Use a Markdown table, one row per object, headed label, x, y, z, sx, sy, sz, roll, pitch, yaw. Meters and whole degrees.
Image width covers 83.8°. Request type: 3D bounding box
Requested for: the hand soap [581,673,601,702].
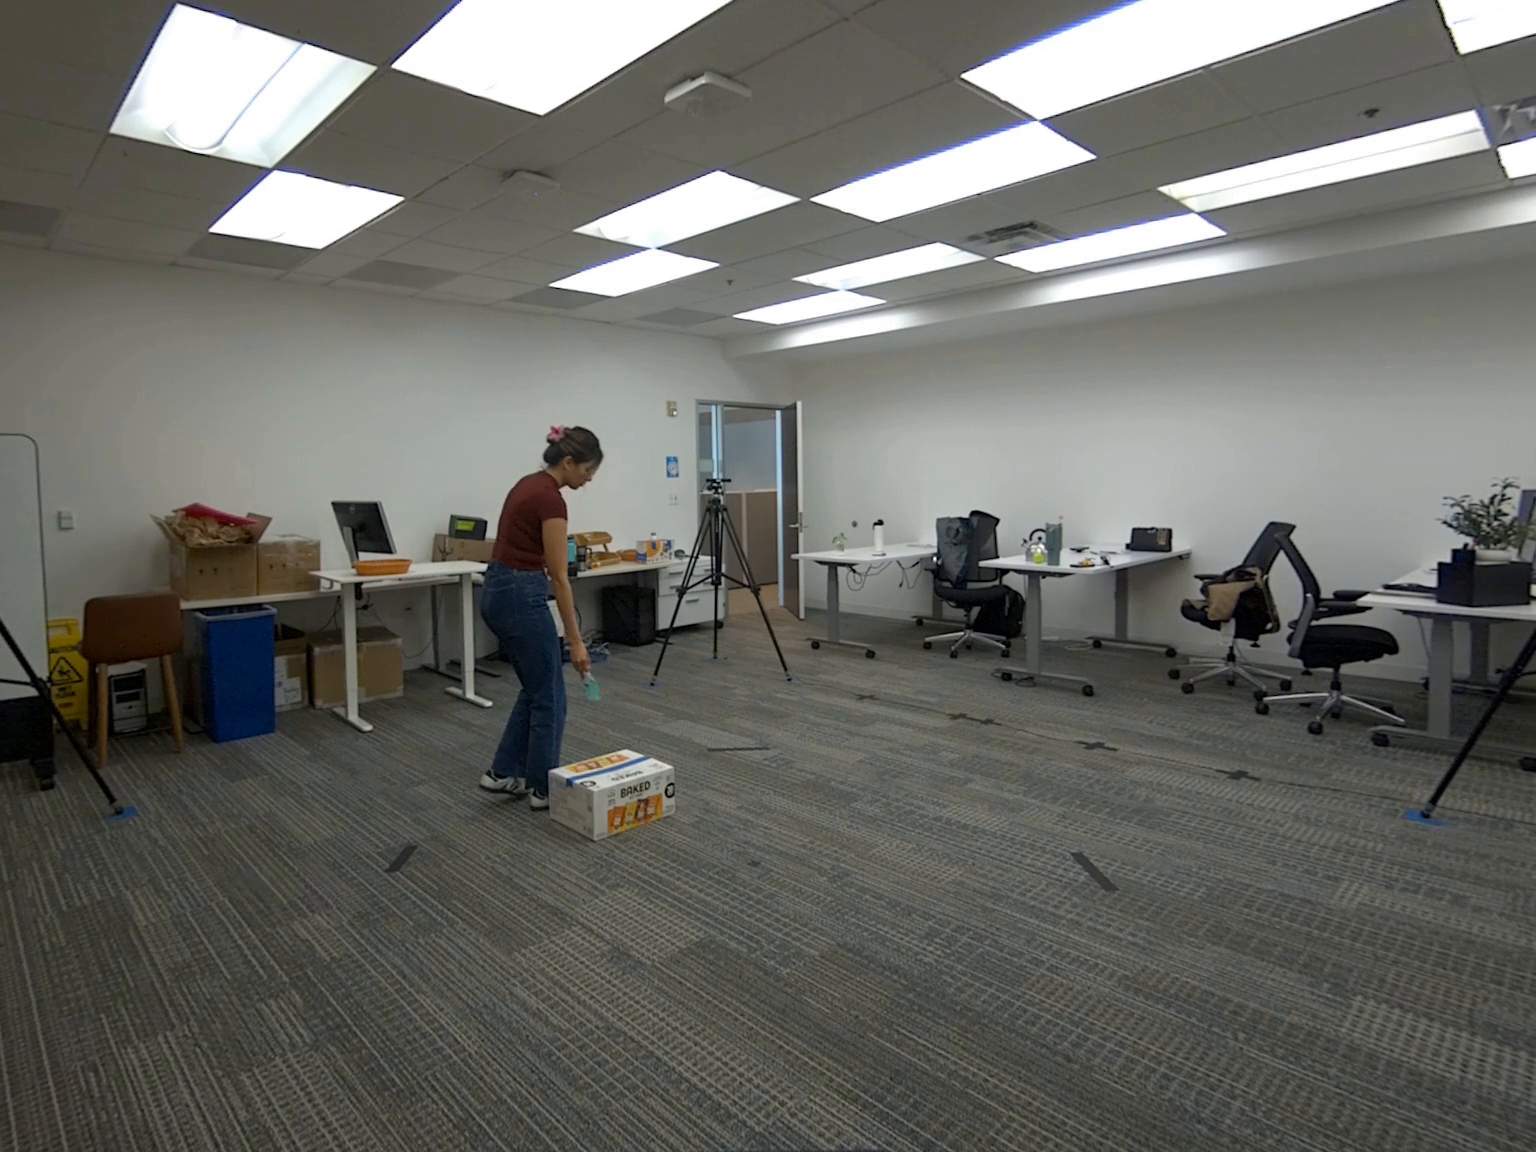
| label | x | y | z | sx | sy | sz | roll | pitch | yaw |
| --- | --- | --- | --- | --- | --- | --- | --- | --- | --- |
| hand soap | -0.743 | 0.444 | 3.533 | 0.086 | 0.165 | 0.043 | -4 | 18 | 26 |
